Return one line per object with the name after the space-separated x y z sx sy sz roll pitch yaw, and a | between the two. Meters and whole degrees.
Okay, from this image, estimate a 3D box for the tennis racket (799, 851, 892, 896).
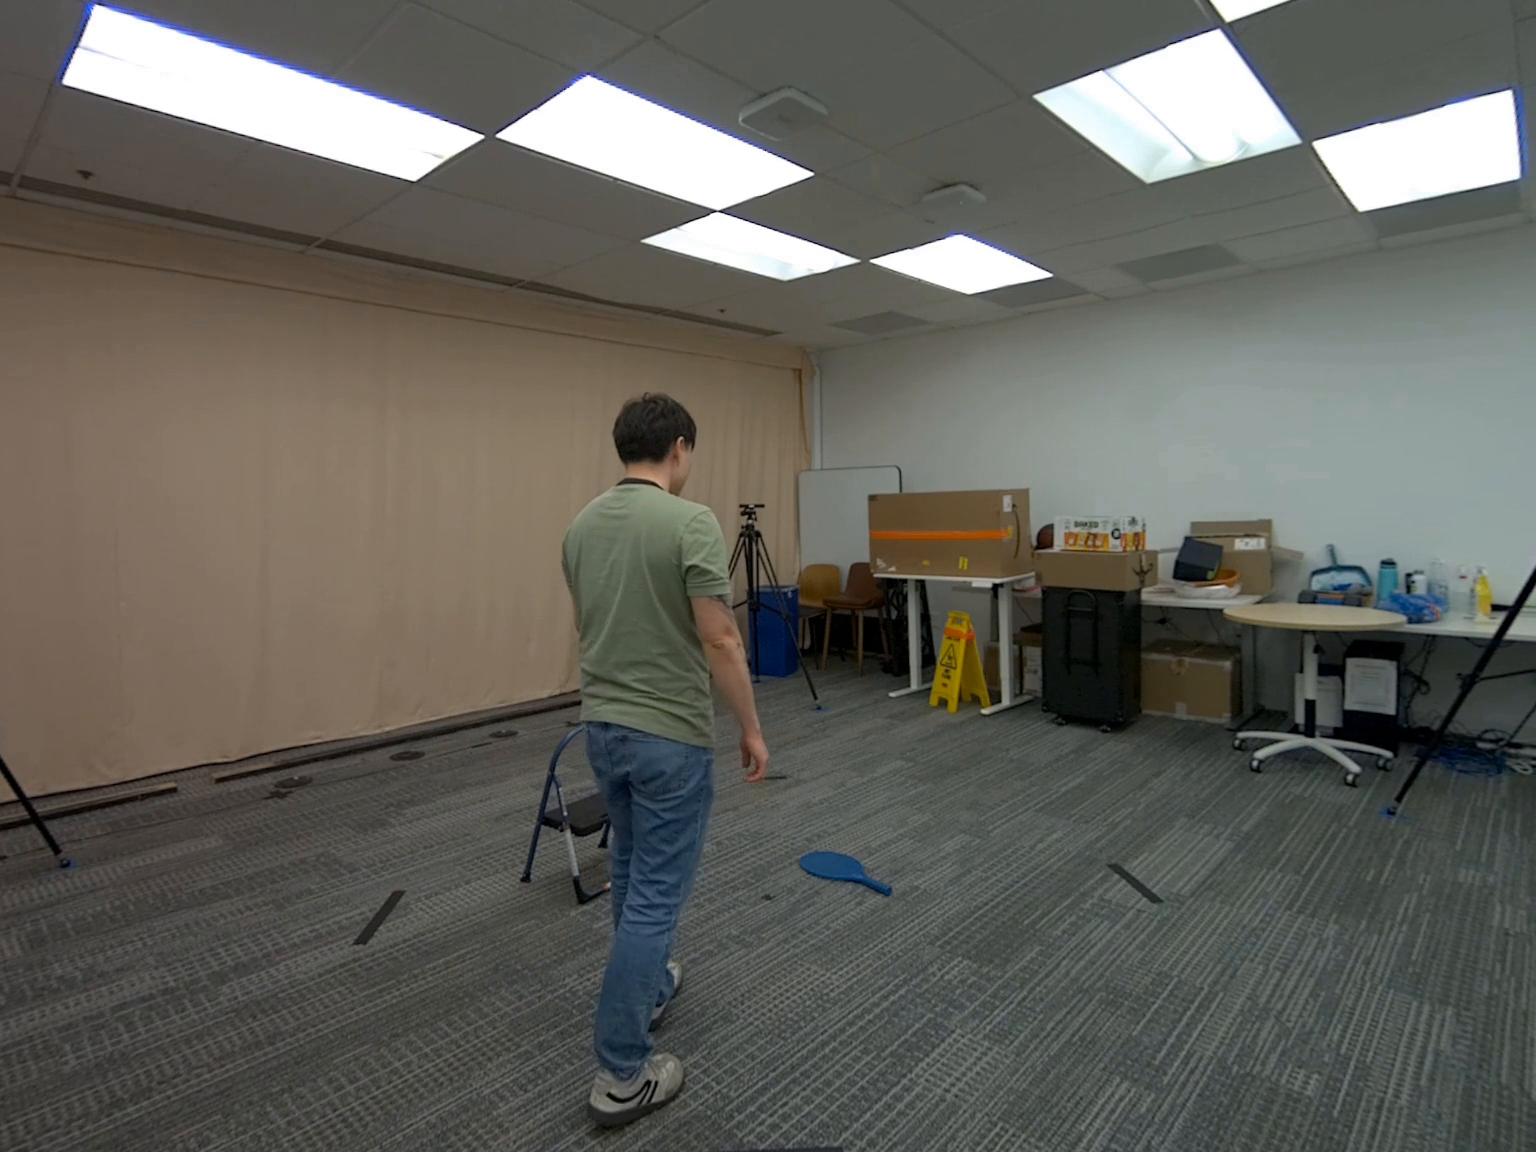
0.297 1.107 3.153 0.207 0.032 0.447 -4 5 -38 | tennis racket
